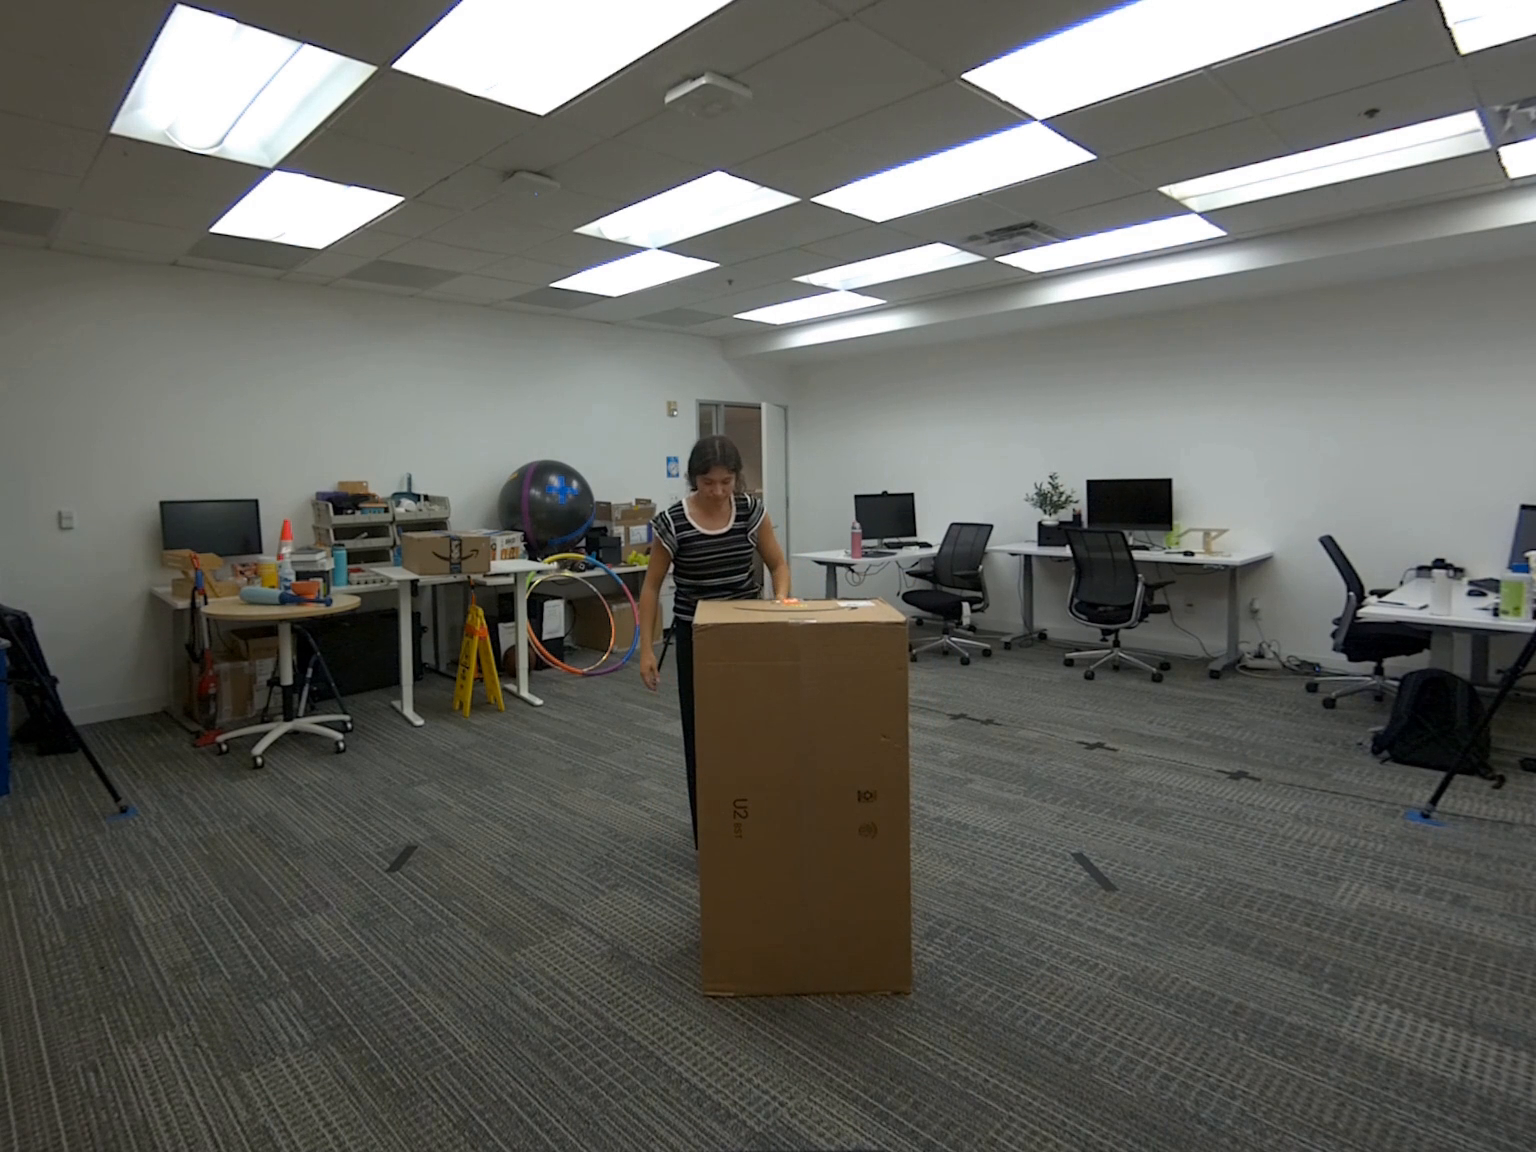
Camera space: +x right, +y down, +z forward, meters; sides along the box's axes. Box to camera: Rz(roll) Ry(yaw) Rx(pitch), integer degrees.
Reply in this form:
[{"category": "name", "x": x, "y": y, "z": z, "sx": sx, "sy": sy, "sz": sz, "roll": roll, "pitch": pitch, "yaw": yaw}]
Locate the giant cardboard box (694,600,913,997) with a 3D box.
[{"category": "giant cardboard box", "x": 0.097, "y": 0.605, "z": 2.487, "sx": 0.577, "sy": 1.022, "sz": 0.428, "roll": -1, "pitch": 4, "yaw": -1}]
